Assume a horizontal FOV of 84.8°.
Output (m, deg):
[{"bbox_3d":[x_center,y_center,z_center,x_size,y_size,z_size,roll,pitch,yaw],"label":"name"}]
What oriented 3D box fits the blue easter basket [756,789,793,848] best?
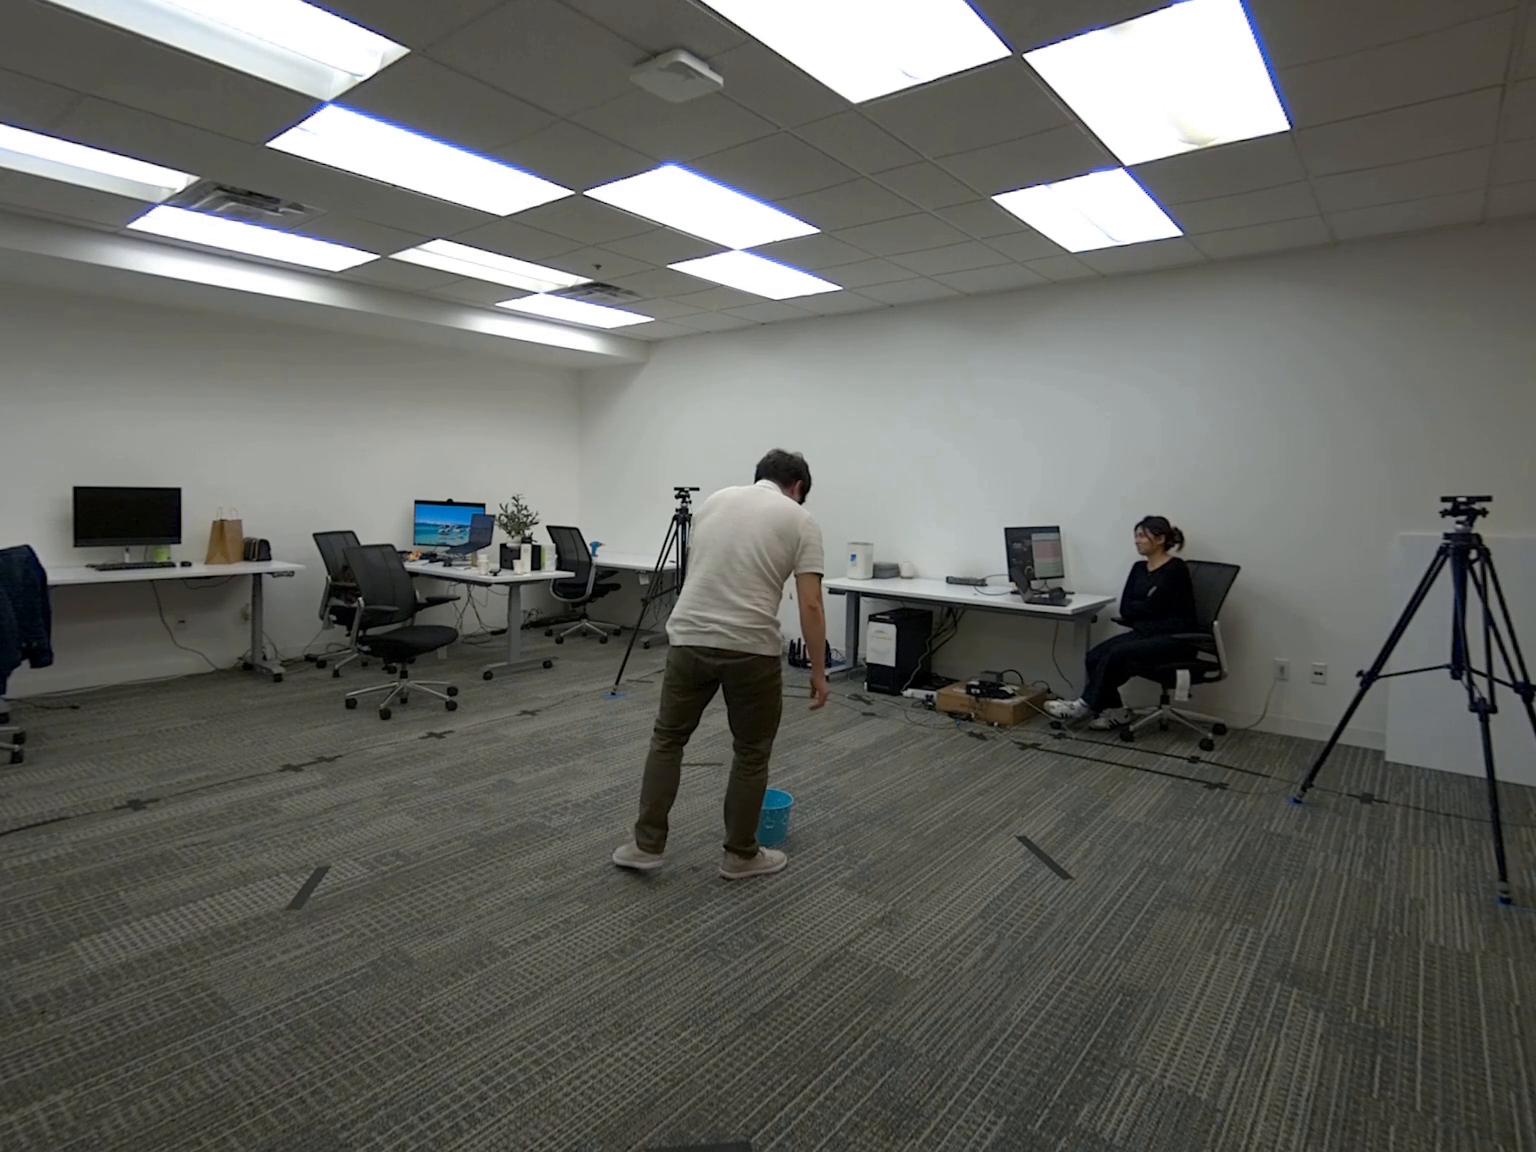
[{"bbox_3d":[-0.025,0.959,3.421,0.243,0.155,0.245,2,5,-2],"label":"blue easter basket"}]
